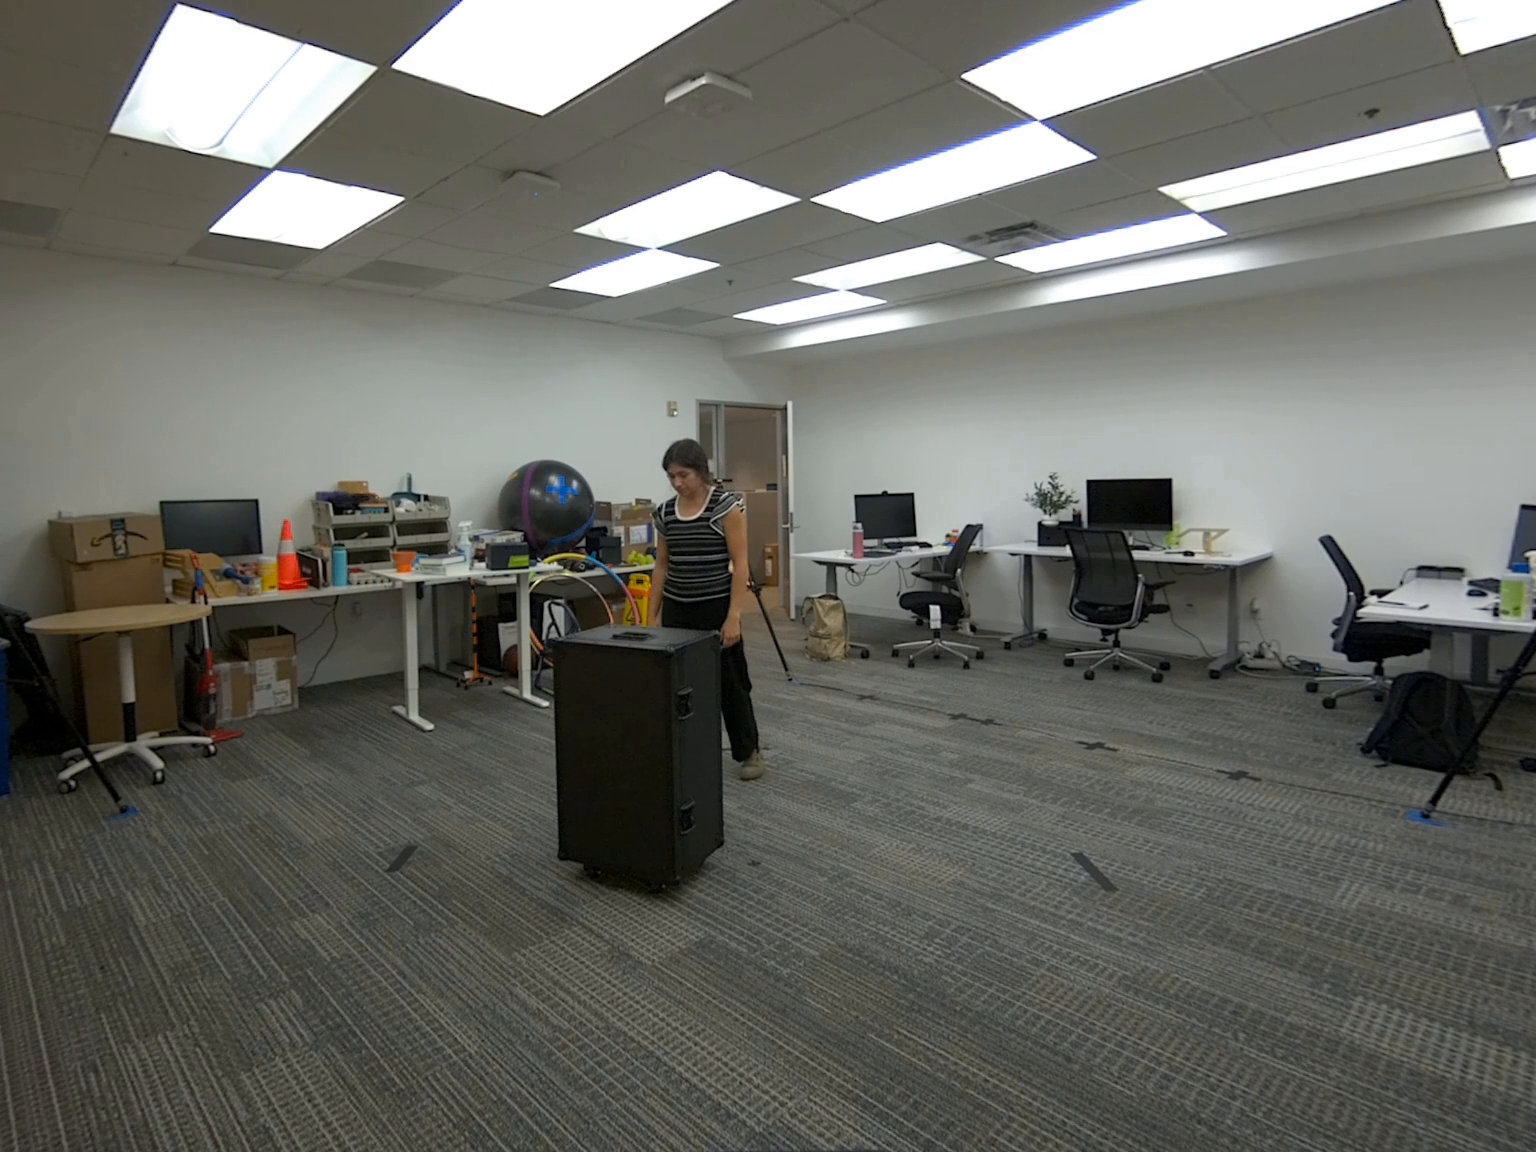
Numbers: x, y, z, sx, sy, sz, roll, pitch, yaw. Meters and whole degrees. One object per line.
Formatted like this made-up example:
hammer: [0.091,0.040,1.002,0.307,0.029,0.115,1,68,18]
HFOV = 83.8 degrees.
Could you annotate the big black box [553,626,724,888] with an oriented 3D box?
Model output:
big black box: [-0.457,0.633,3.049,0.534,0.859,0.388,1,4,27]
